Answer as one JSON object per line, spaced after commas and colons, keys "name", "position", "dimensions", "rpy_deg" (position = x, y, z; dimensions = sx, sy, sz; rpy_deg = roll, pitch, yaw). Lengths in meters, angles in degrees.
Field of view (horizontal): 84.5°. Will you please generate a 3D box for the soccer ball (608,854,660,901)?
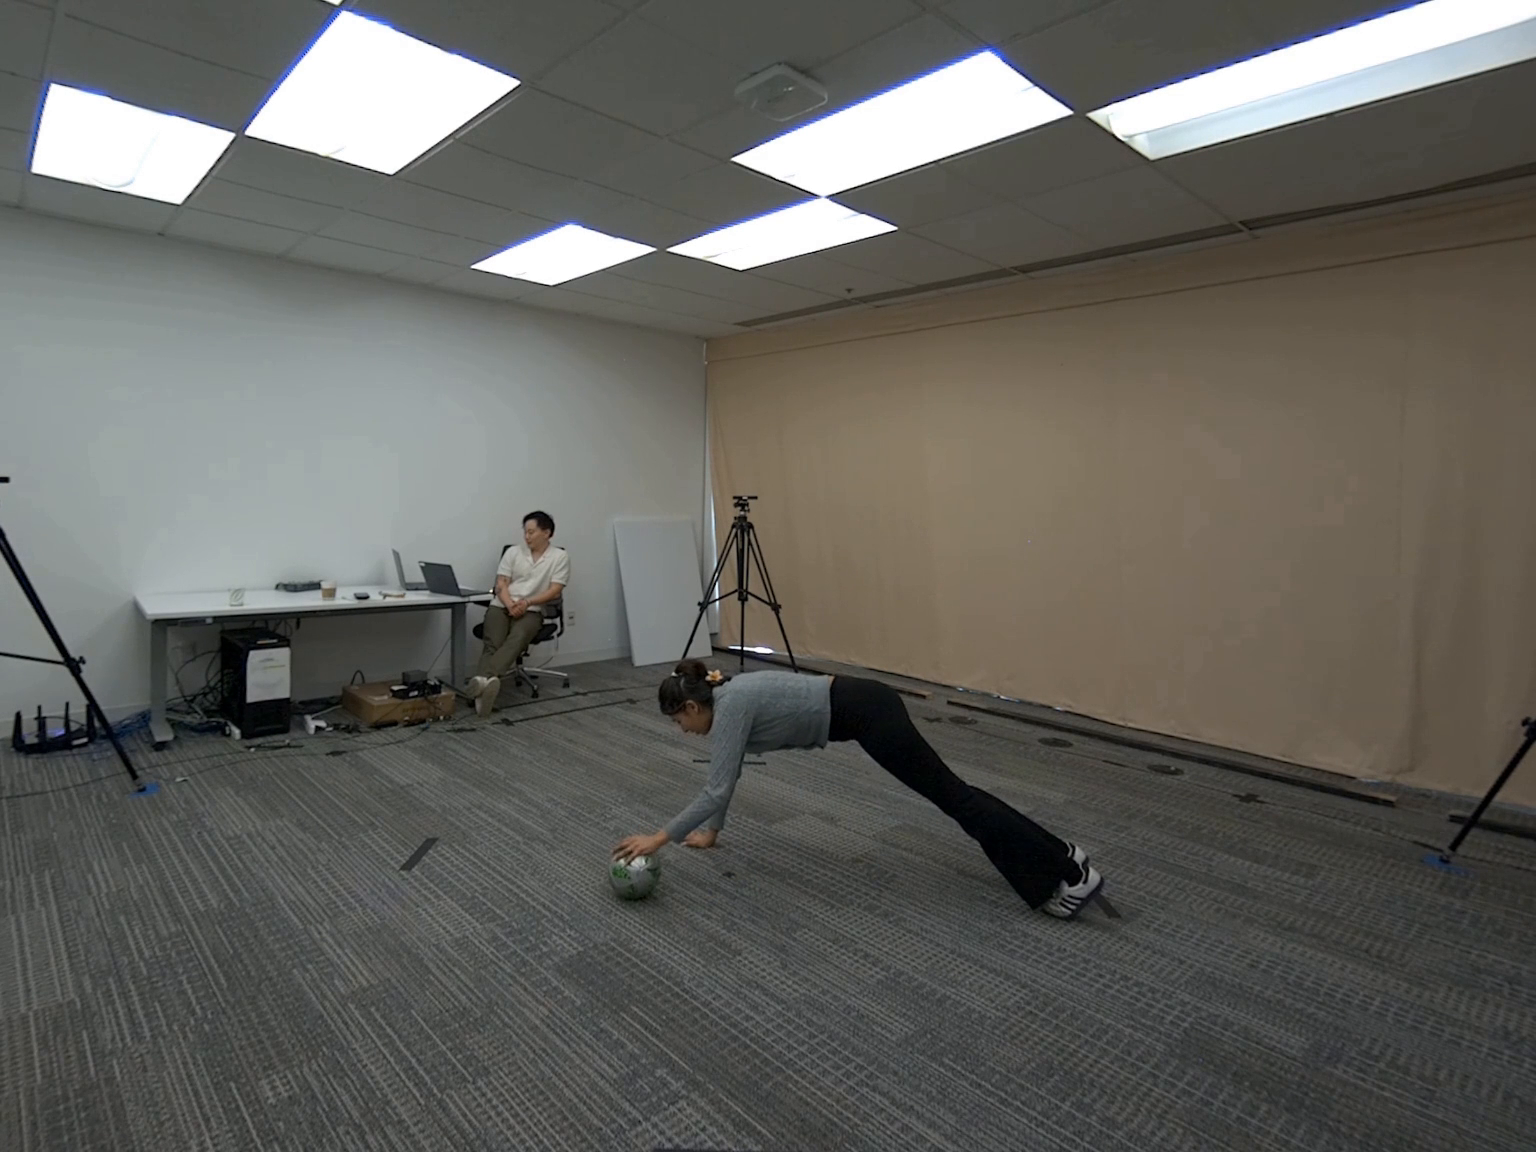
{"name": "soccer ball", "position": [-0.467, 1.017, 2.915], "dimensions": [0.187, 0.187, 0.188], "rpy_deg": [1, 4, -1]}
